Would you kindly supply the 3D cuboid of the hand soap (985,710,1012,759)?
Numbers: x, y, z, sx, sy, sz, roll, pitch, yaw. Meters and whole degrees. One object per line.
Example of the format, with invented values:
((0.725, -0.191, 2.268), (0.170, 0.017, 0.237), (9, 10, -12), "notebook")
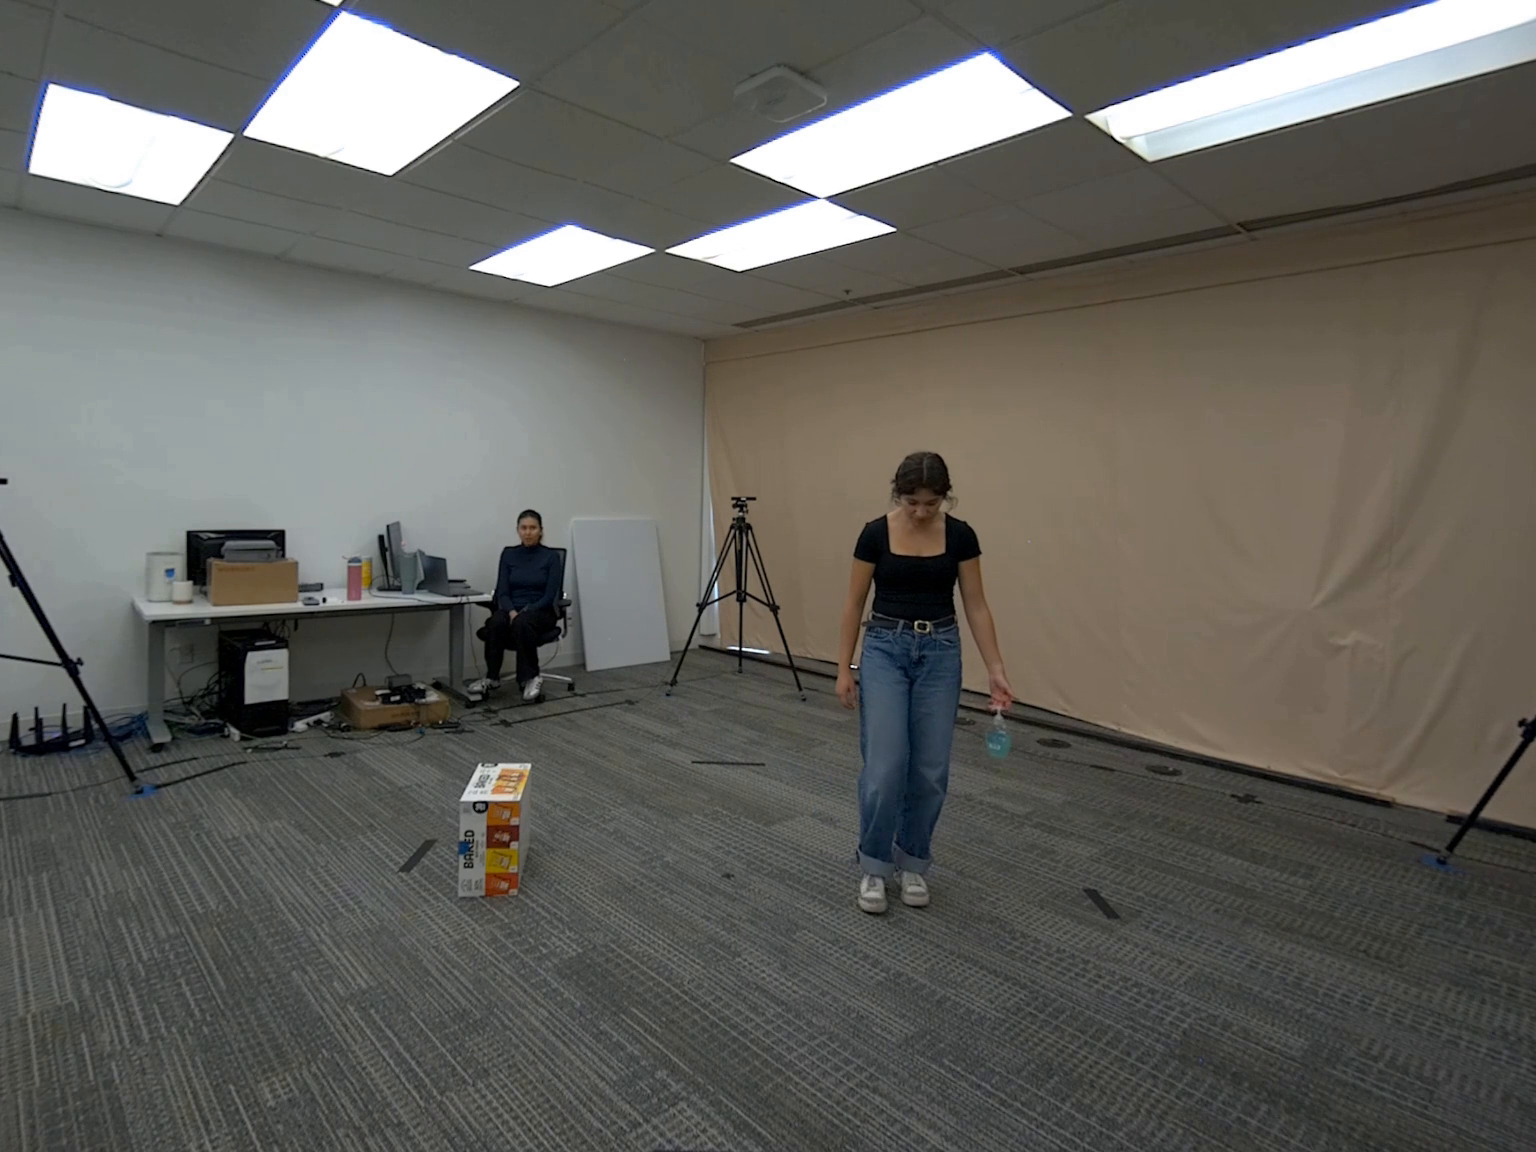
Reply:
((0.752, 0.514, 2.789), (0.086, 0.168, 0.042), (3, 5, 37), "hand soap")
